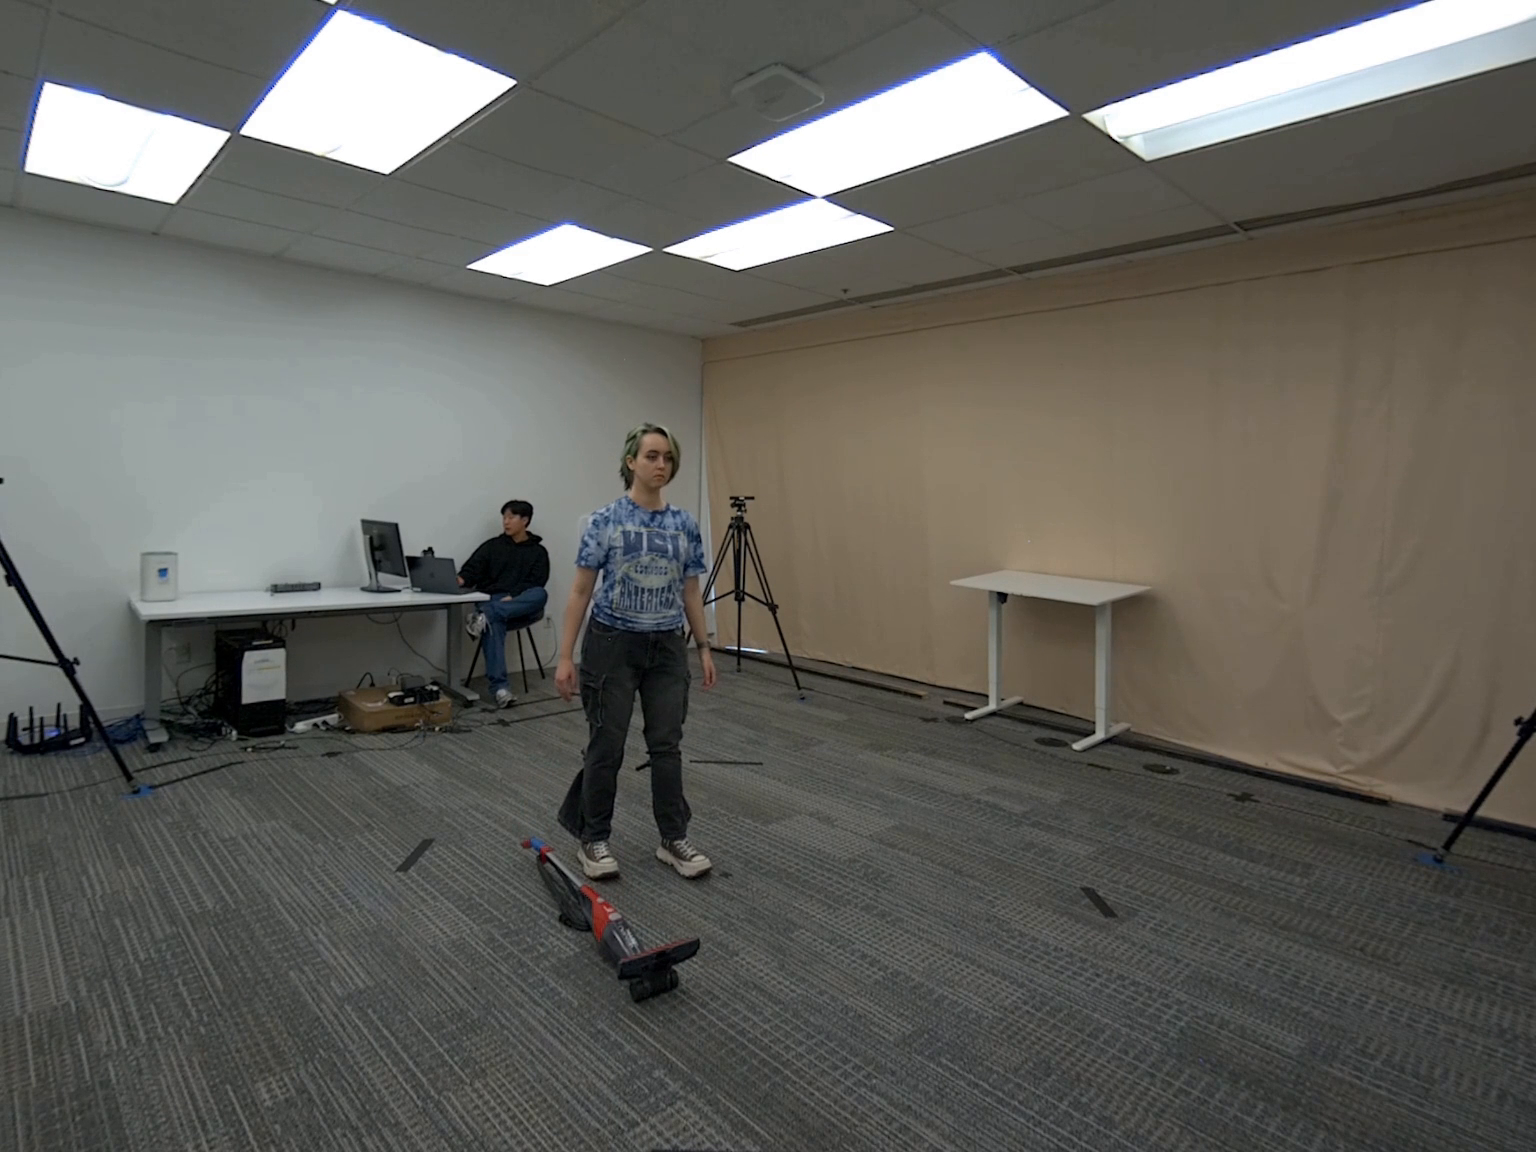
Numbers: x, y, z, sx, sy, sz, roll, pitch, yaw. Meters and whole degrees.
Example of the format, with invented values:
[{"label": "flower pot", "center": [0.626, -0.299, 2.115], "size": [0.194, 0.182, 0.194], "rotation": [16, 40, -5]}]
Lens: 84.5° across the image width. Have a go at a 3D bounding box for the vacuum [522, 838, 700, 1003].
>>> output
[{"label": "vacuum", "center": [-0.616, 1.067, 2.747], "size": [0.247, 0.144, 1.075], "rotation": [1, 3, -36]}]
